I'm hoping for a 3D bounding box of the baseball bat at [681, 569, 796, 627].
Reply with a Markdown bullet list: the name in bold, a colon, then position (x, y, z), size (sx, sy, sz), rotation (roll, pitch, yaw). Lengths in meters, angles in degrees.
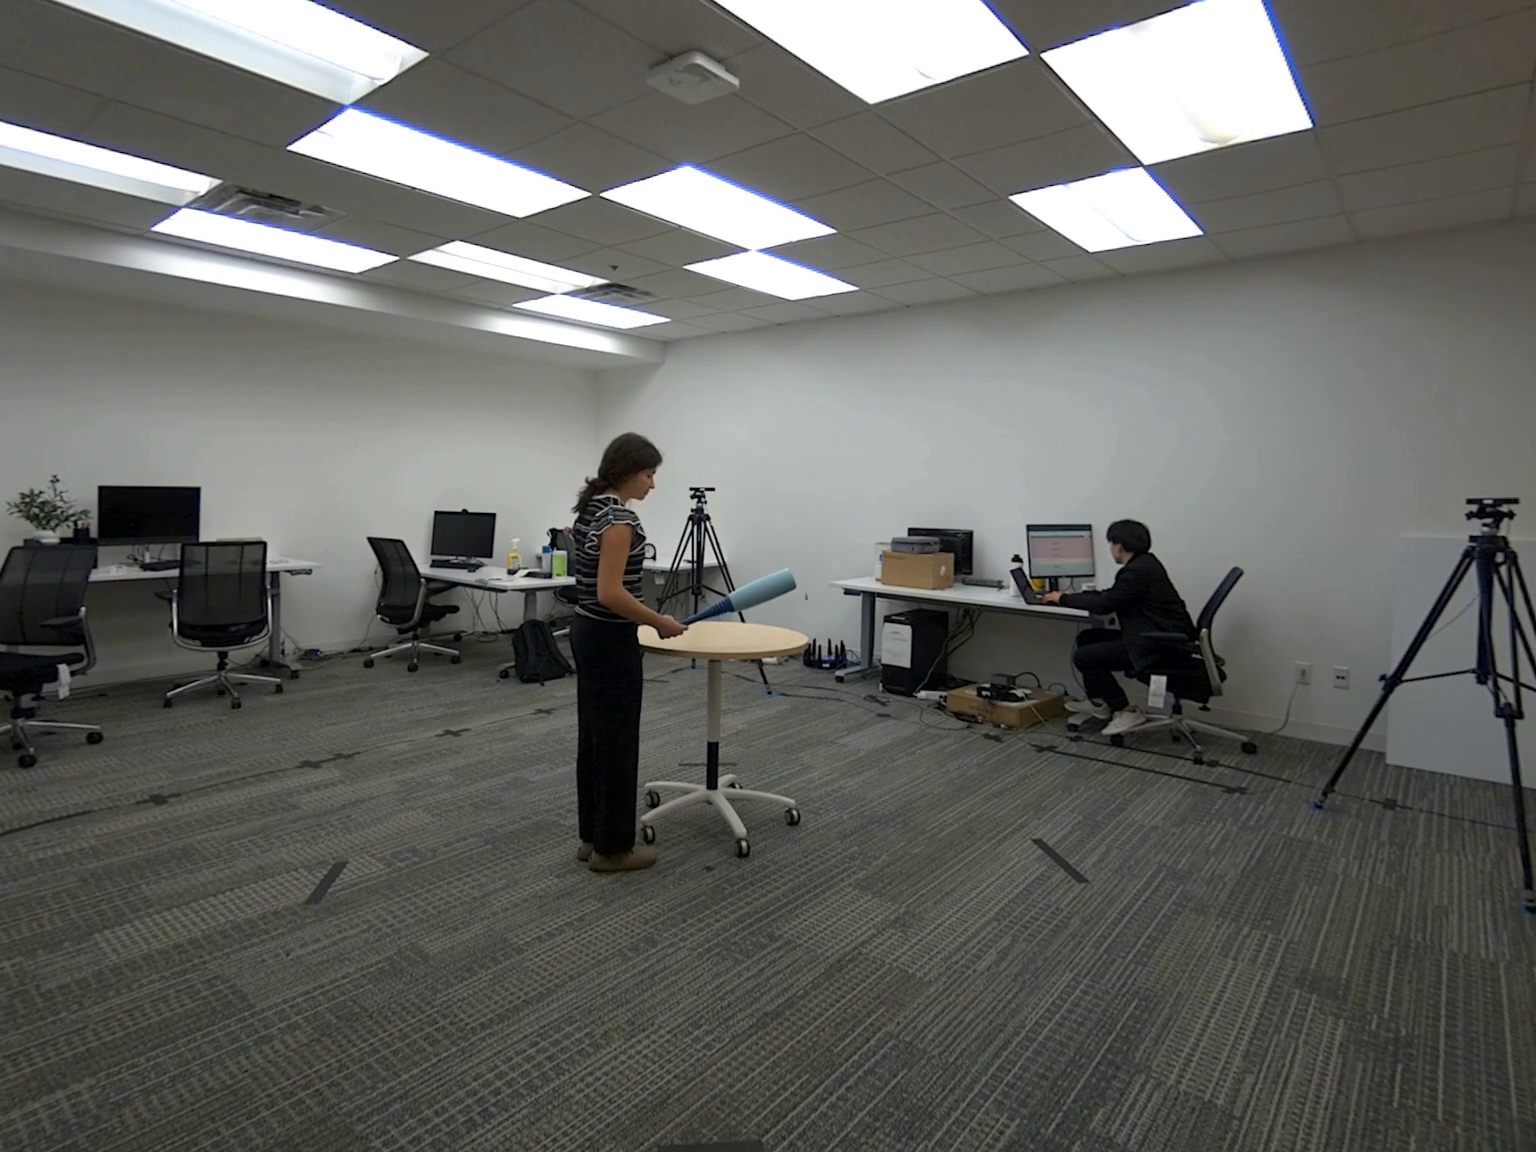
- **baseball bat**: position (-0.166, 0.120, 3.142), size (0.542, 0.088, 0.089), rotation (-22, 5, -1)
